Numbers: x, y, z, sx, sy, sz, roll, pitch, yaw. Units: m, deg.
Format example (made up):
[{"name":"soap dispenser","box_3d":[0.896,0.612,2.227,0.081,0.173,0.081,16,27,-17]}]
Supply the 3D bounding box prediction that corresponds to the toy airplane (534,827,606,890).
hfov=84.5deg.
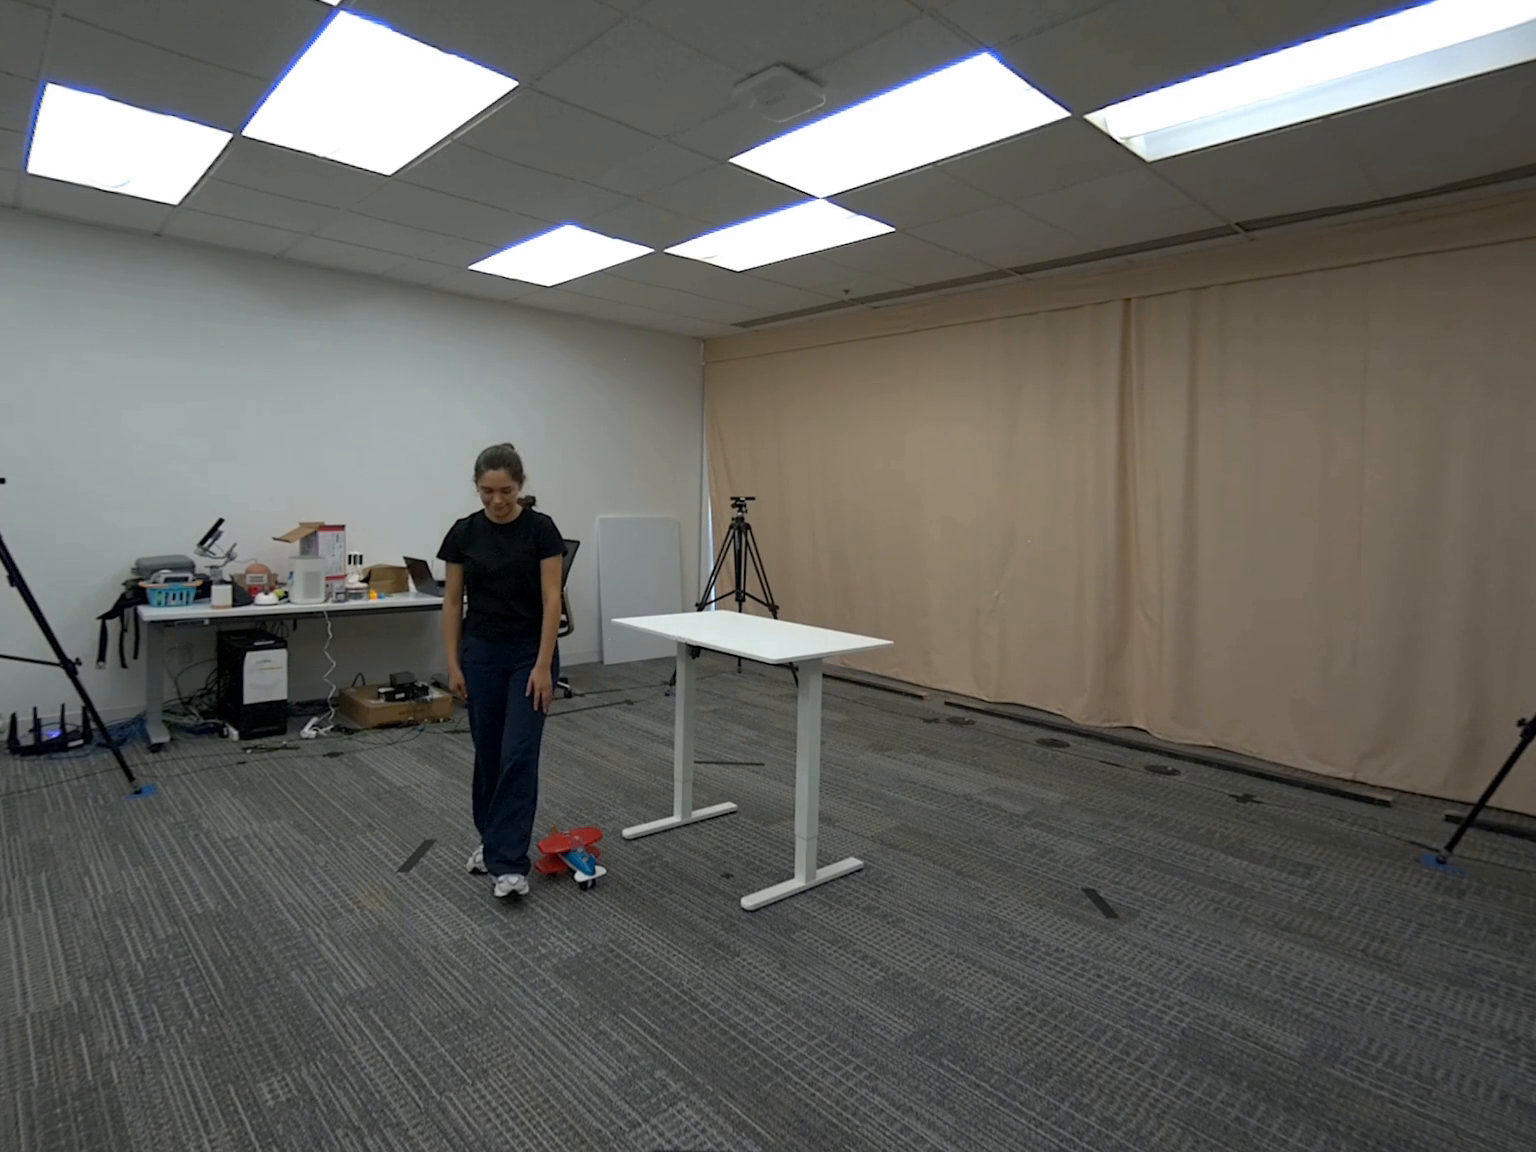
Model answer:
[{"name":"toy airplane","box_3d":[-0.694,1.027,3.037,0.263,0.156,0.247,2,4,20]}]
